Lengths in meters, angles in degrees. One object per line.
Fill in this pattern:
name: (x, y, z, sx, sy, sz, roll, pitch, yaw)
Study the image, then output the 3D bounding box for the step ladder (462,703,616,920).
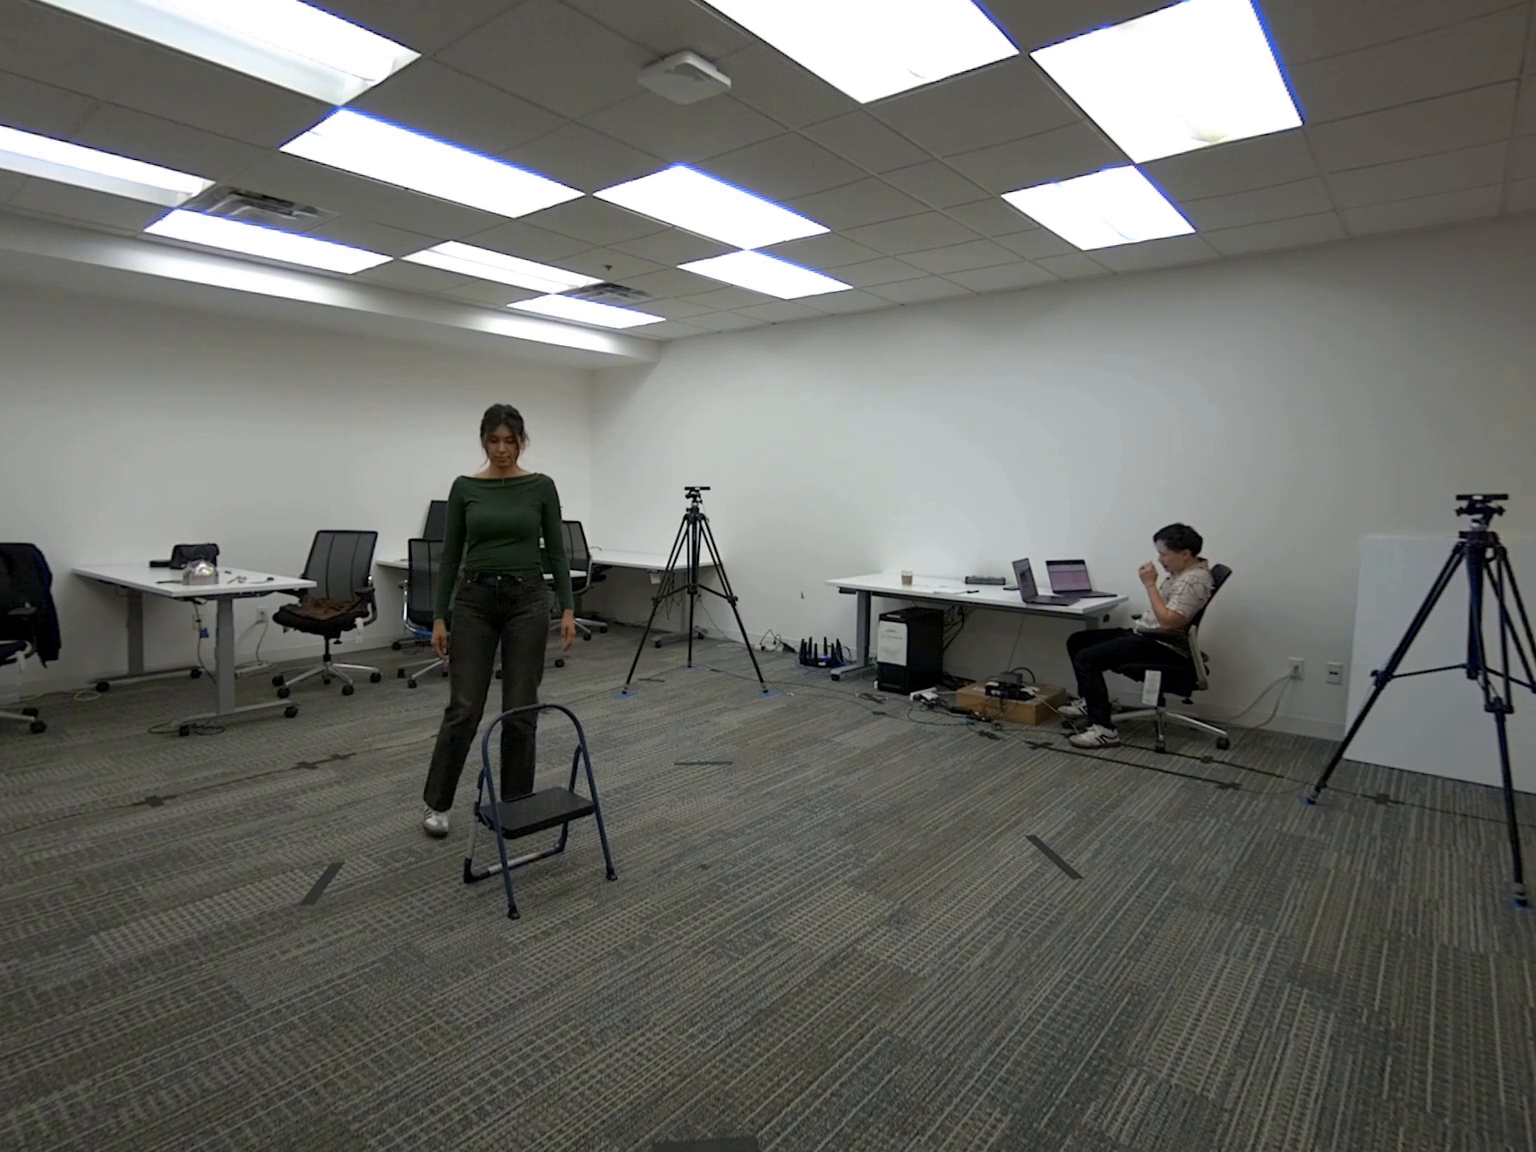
step ladder: (-0.807, 0.767, 2.973, 0.361, 0.604, 0.418, 4, 5, 43)
